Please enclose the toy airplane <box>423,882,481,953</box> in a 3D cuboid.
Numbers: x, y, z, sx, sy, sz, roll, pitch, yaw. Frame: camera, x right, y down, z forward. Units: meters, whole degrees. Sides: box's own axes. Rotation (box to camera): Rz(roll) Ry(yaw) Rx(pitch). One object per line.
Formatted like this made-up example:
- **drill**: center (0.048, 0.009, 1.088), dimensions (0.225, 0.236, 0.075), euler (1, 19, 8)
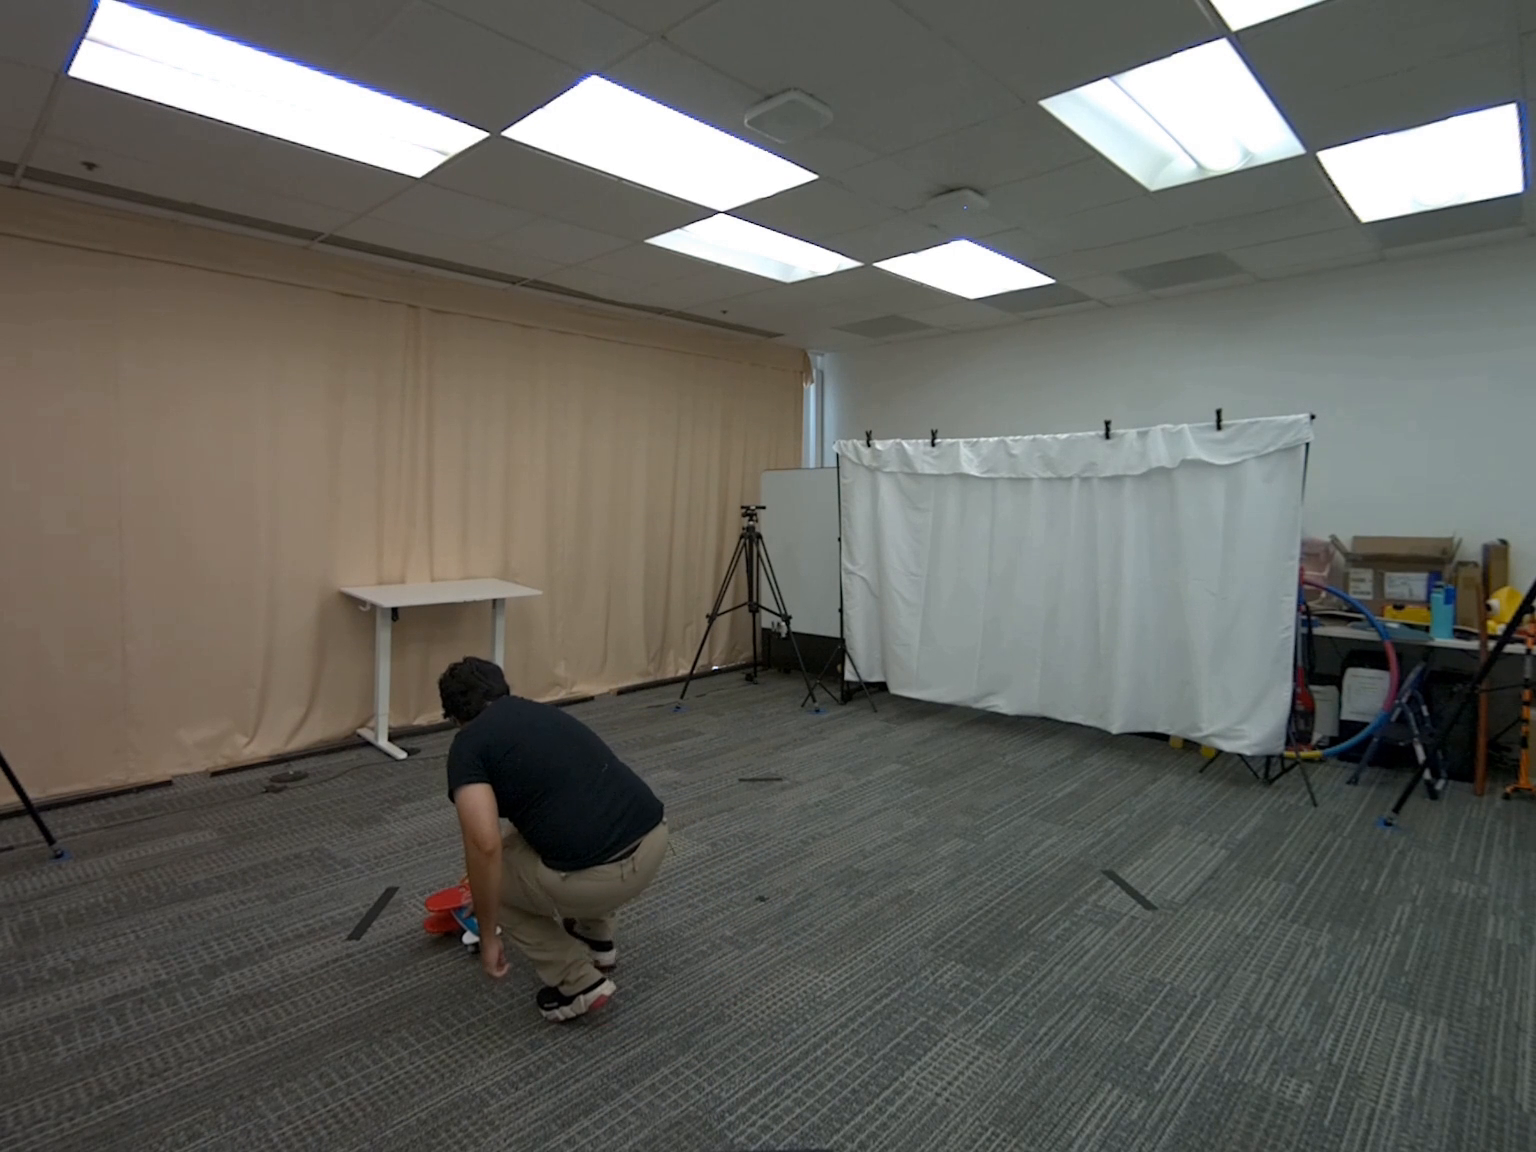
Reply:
- **toy airplane**: center (-0.958, 1.096, 2.725), dimensions (0.265, 0.156, 0.246), euler (0, 4, 22)
